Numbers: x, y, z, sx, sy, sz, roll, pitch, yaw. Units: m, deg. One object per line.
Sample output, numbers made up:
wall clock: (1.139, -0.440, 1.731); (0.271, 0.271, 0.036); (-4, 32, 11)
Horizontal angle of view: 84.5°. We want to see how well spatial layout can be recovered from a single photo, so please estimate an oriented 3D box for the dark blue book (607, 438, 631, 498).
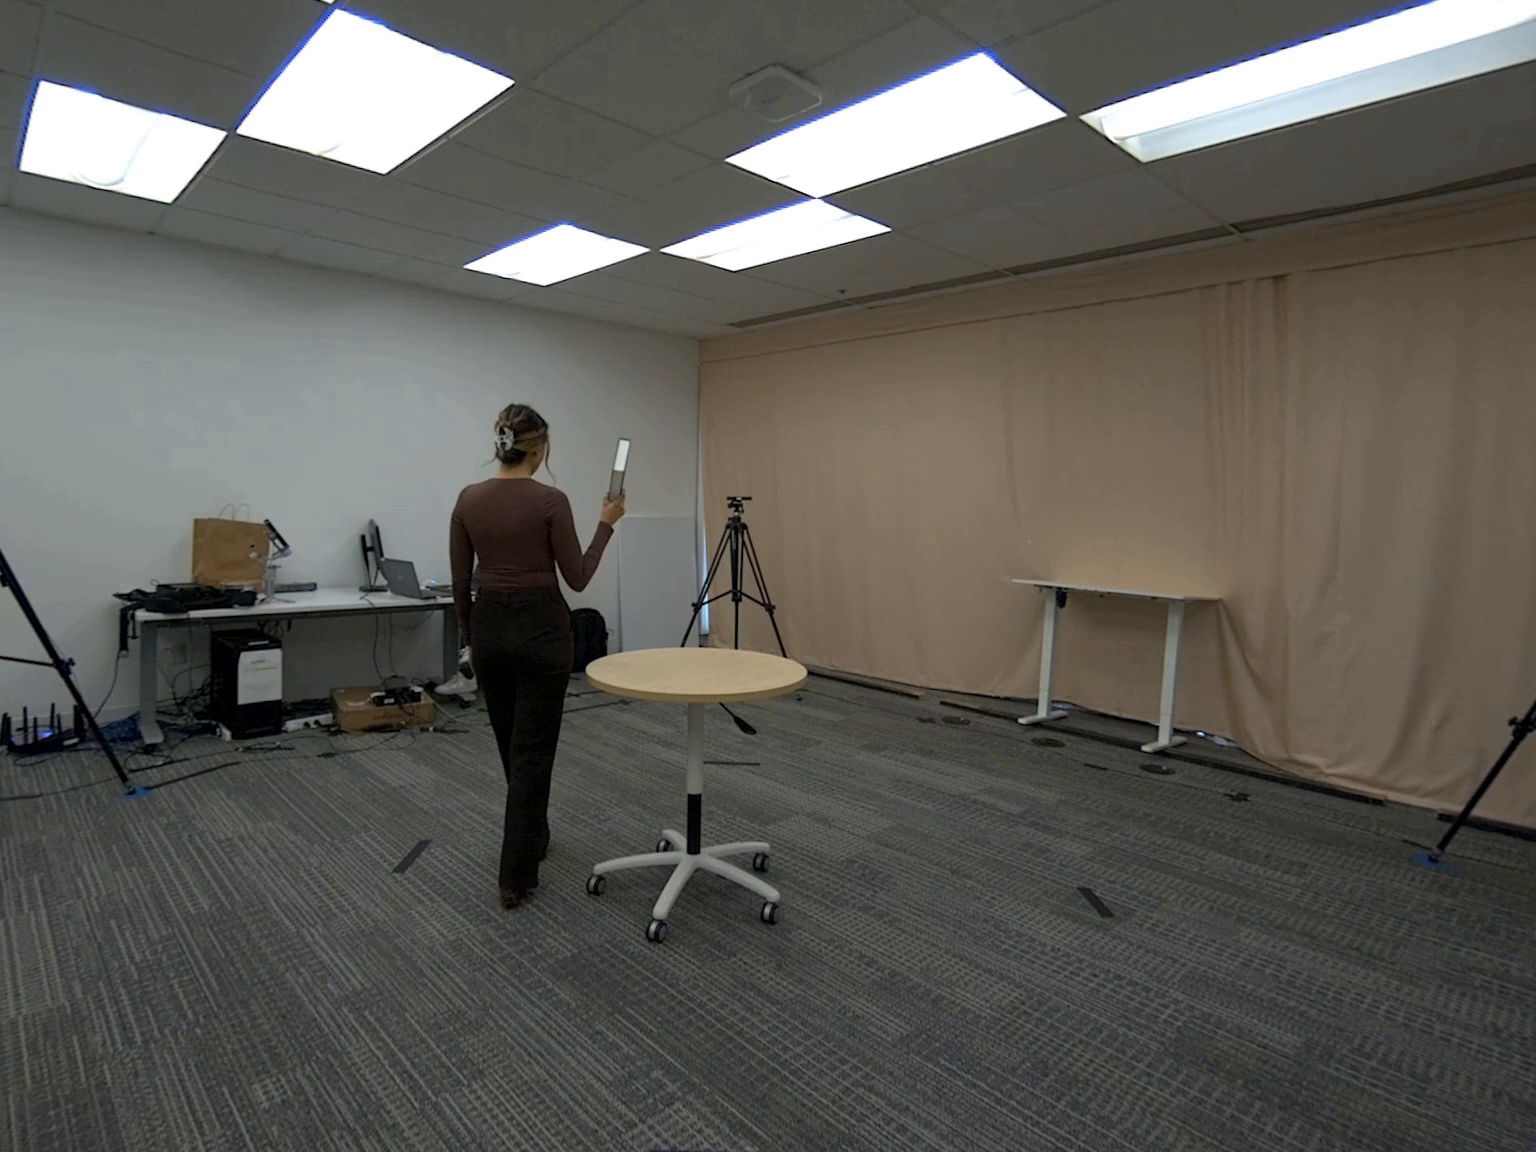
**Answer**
dark blue book: (-0.563, -0.370, 3.118); (0.045, 0.166, 0.241); (11, -38, -4)
